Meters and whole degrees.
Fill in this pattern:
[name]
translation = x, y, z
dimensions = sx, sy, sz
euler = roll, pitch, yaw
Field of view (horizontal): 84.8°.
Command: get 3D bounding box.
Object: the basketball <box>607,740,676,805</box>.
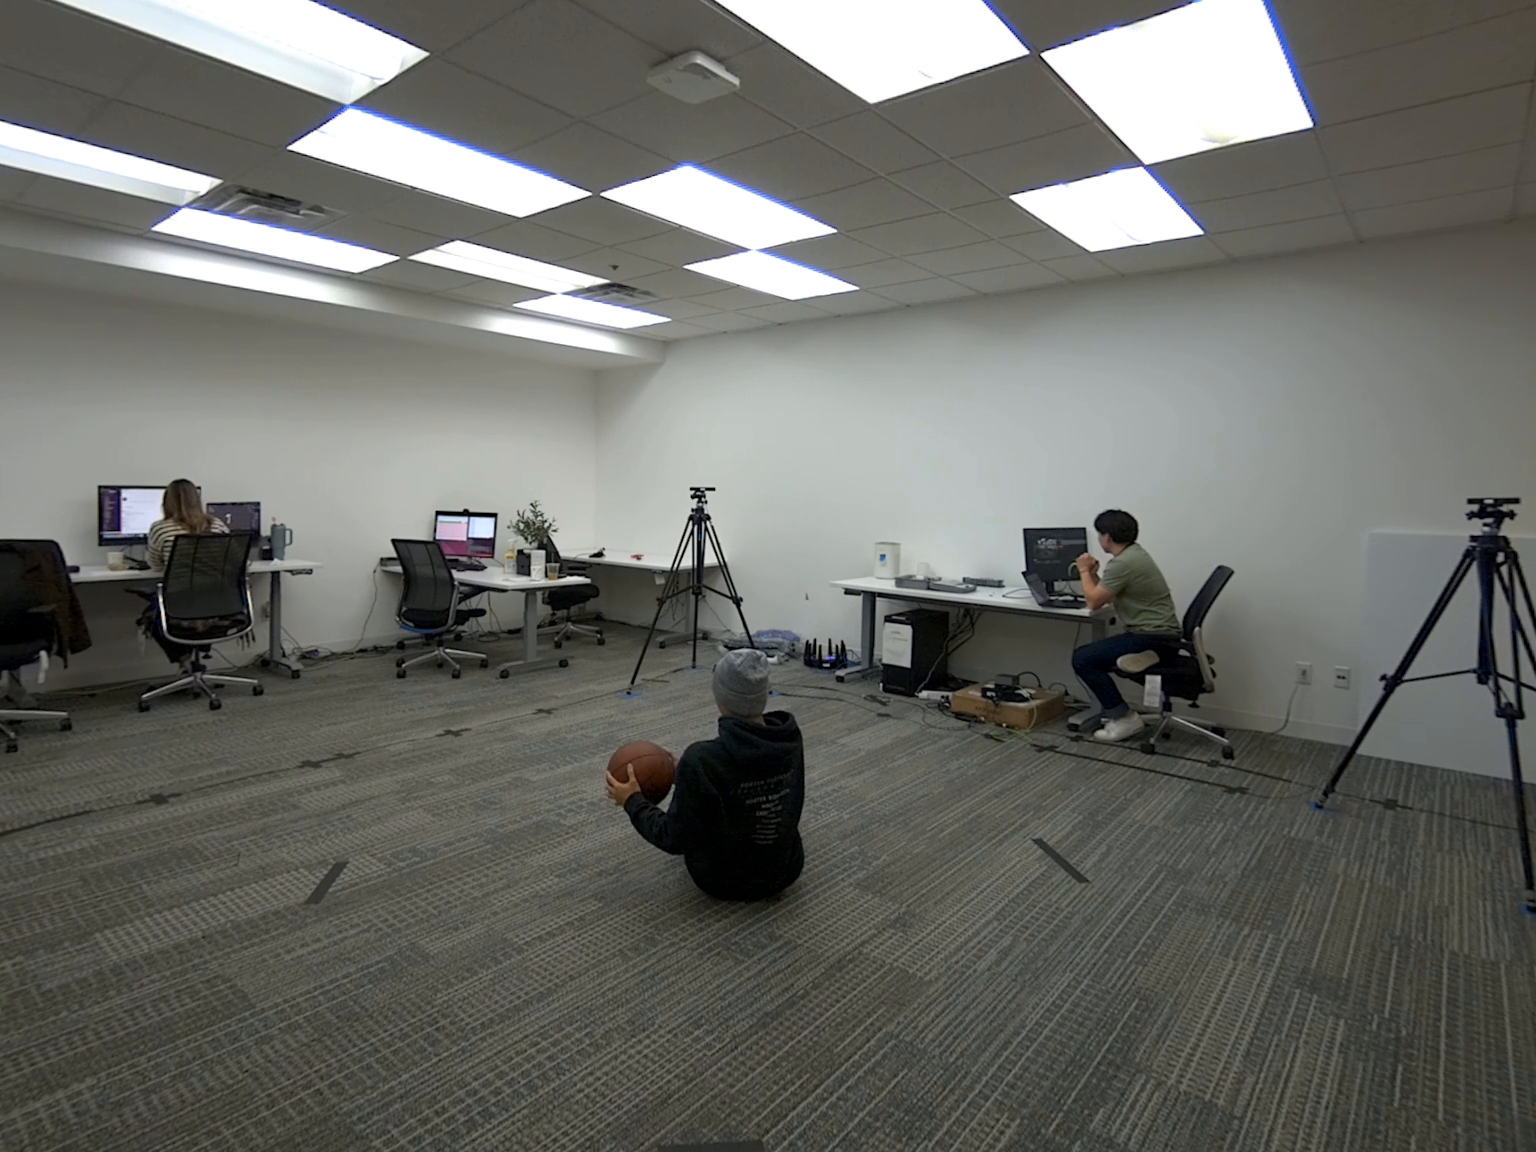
[basketball]
translation = -0.456, 0.699, 3.018
dimensions = 0.235, 0.235, 0.237
euler = 1, 4, -2
